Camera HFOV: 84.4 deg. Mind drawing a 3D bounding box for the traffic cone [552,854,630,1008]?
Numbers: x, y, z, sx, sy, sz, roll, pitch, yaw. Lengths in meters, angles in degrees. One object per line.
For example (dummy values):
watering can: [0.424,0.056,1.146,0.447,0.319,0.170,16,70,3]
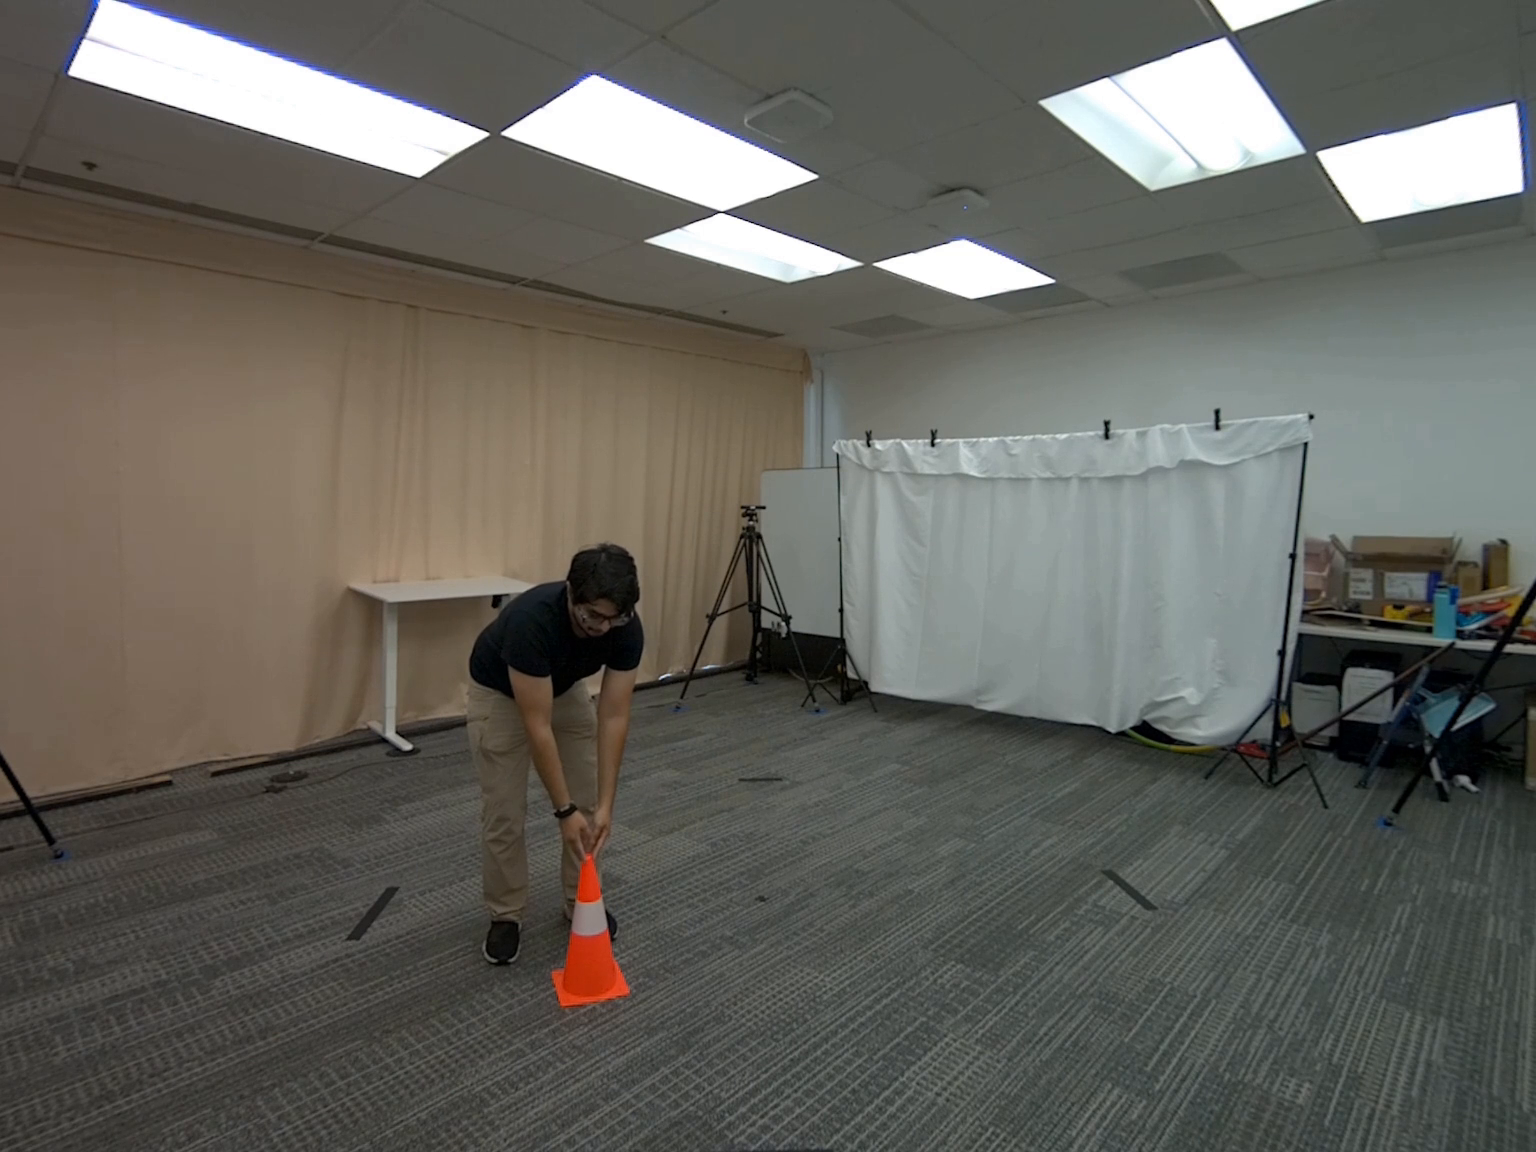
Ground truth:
traffic cone: [-0.525,1.011,2.451,0.199,0.383,0.210,-1,3,-22]
